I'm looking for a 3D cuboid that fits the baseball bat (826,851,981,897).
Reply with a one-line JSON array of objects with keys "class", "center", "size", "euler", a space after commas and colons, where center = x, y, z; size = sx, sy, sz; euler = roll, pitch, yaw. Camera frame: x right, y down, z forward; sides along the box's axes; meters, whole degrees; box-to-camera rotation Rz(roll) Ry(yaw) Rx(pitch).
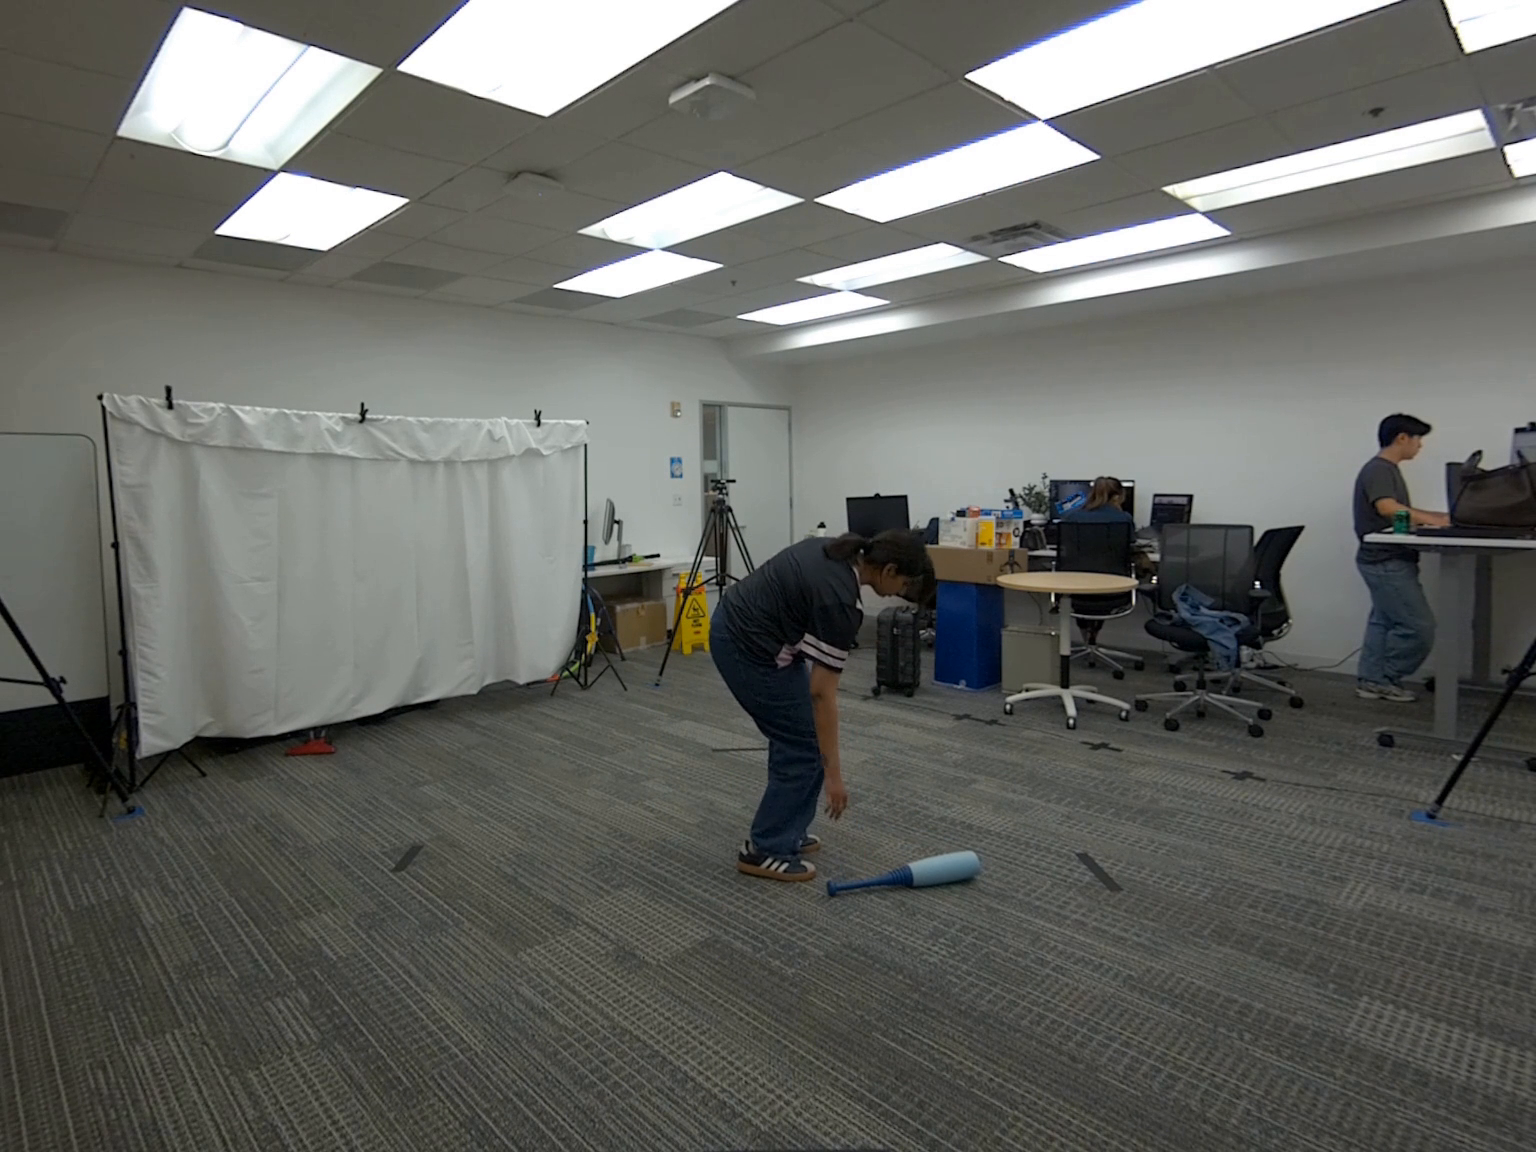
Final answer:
[{"class": "baseball bat", "center": [0.470, 1.026, 2.907], "size": [0.538, 0.088, 0.090], "euler": [-5, 5, -10]}]
